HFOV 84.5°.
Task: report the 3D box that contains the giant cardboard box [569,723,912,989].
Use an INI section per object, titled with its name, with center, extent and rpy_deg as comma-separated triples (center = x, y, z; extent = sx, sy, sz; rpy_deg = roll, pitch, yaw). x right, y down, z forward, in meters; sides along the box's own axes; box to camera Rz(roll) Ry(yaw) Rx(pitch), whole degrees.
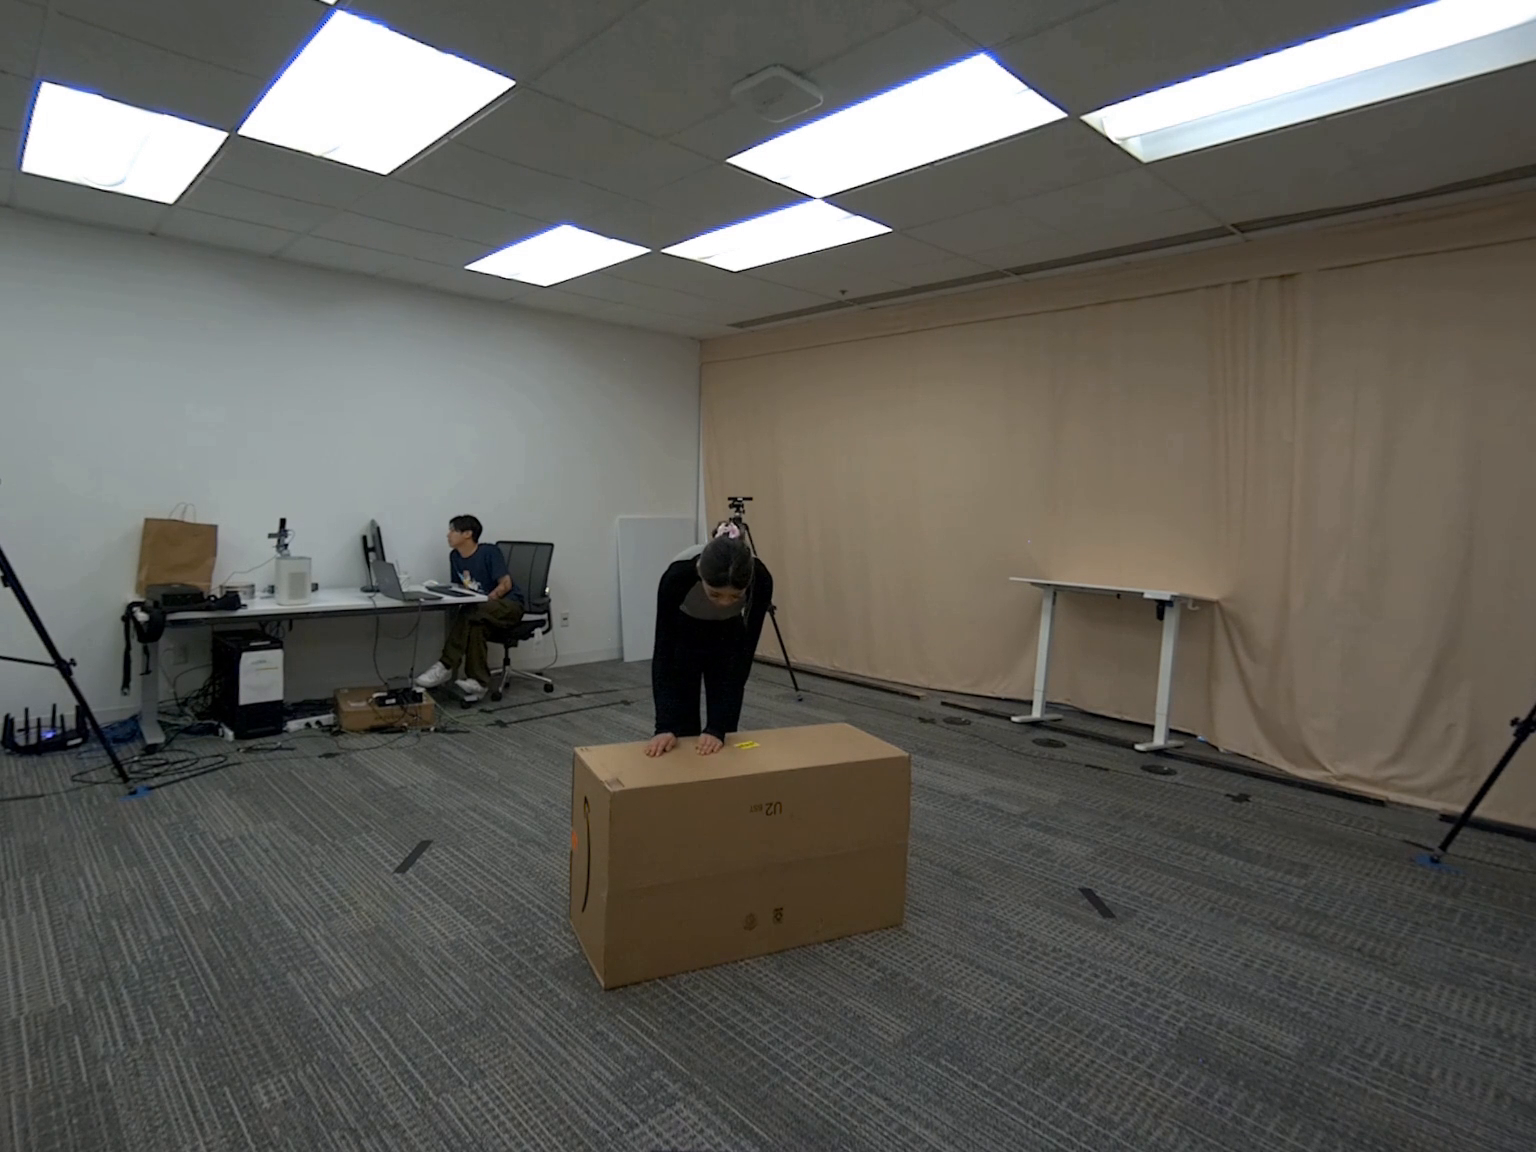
[giant cardboard box]
center = -0.092, 0.854, 2.741
extent = 1.008, 0.576, 0.435
rpy_deg = 0, 4, -24
